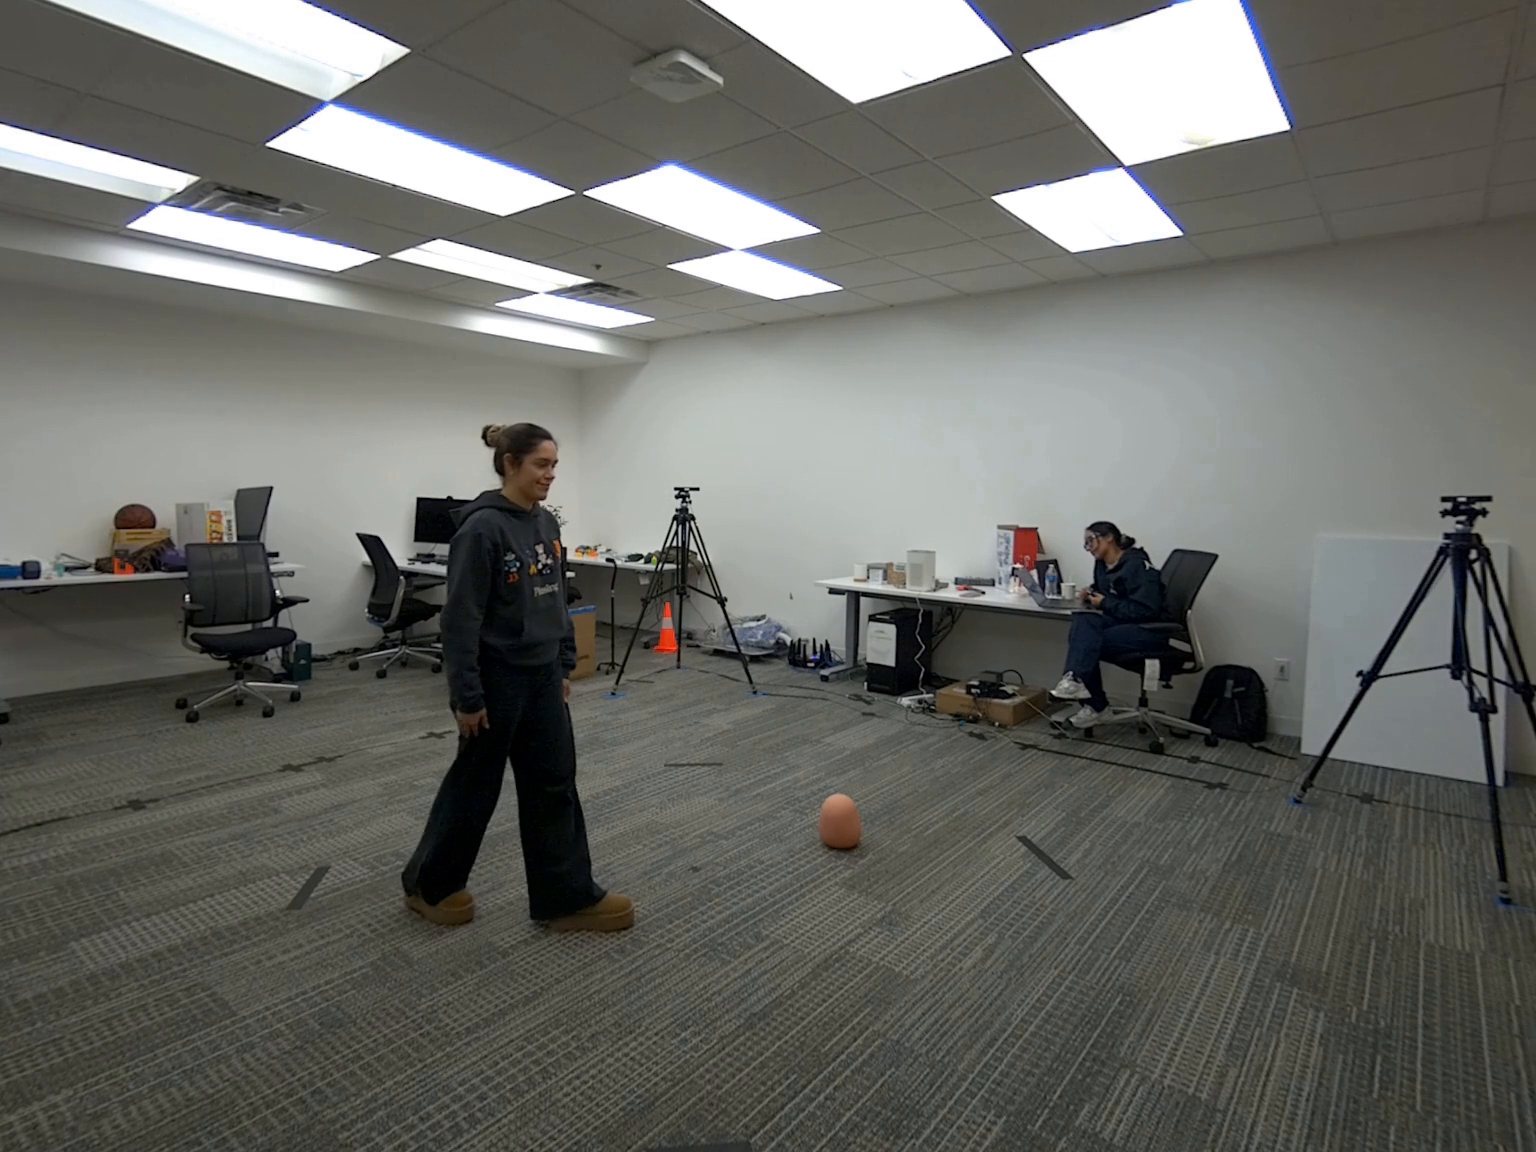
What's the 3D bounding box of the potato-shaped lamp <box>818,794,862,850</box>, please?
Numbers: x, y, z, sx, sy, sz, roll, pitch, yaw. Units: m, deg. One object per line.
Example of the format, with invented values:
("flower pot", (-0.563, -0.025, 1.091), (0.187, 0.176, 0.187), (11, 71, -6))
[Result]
("potato-shaped lamp", (0.280, 0.952, 3.347), (0.169, 0.198, 0.167), (5, 3, 27))
